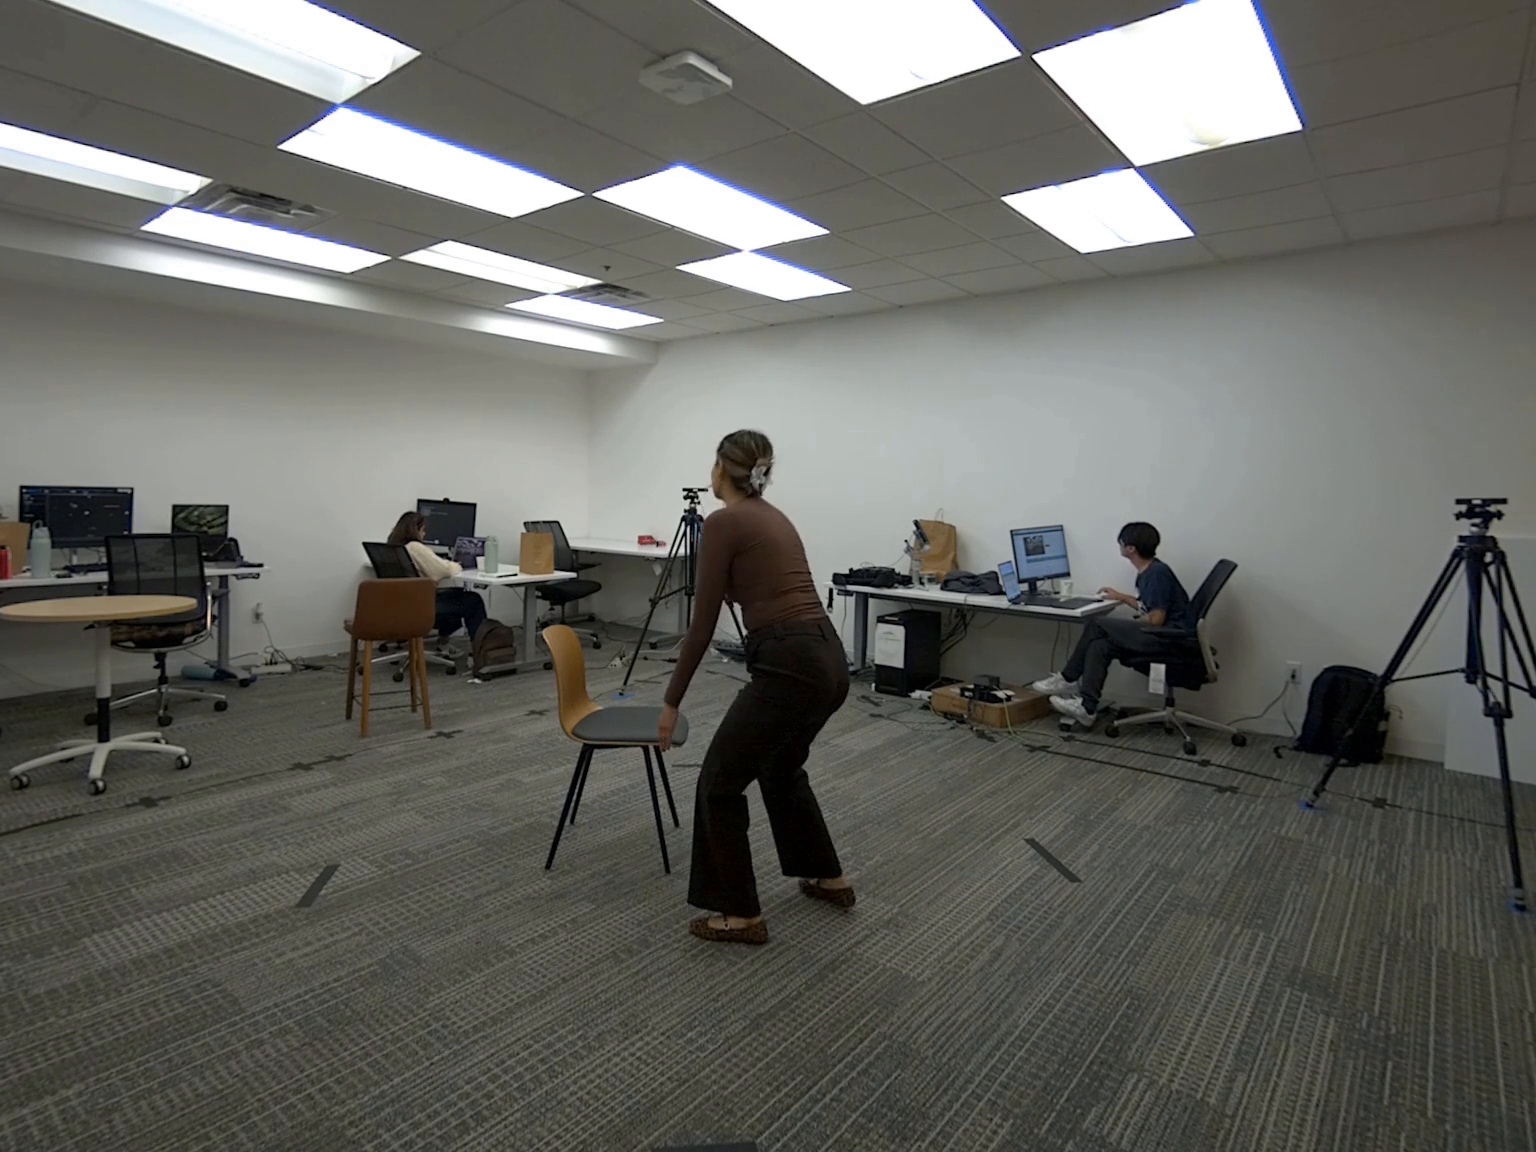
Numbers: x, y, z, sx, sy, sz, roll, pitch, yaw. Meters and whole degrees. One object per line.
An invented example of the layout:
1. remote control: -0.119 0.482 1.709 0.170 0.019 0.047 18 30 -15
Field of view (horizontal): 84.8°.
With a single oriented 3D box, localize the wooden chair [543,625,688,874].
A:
1. wooden chair: -0.581 0.619 3.268 0.524 0.875 0.479 -3 3 0
